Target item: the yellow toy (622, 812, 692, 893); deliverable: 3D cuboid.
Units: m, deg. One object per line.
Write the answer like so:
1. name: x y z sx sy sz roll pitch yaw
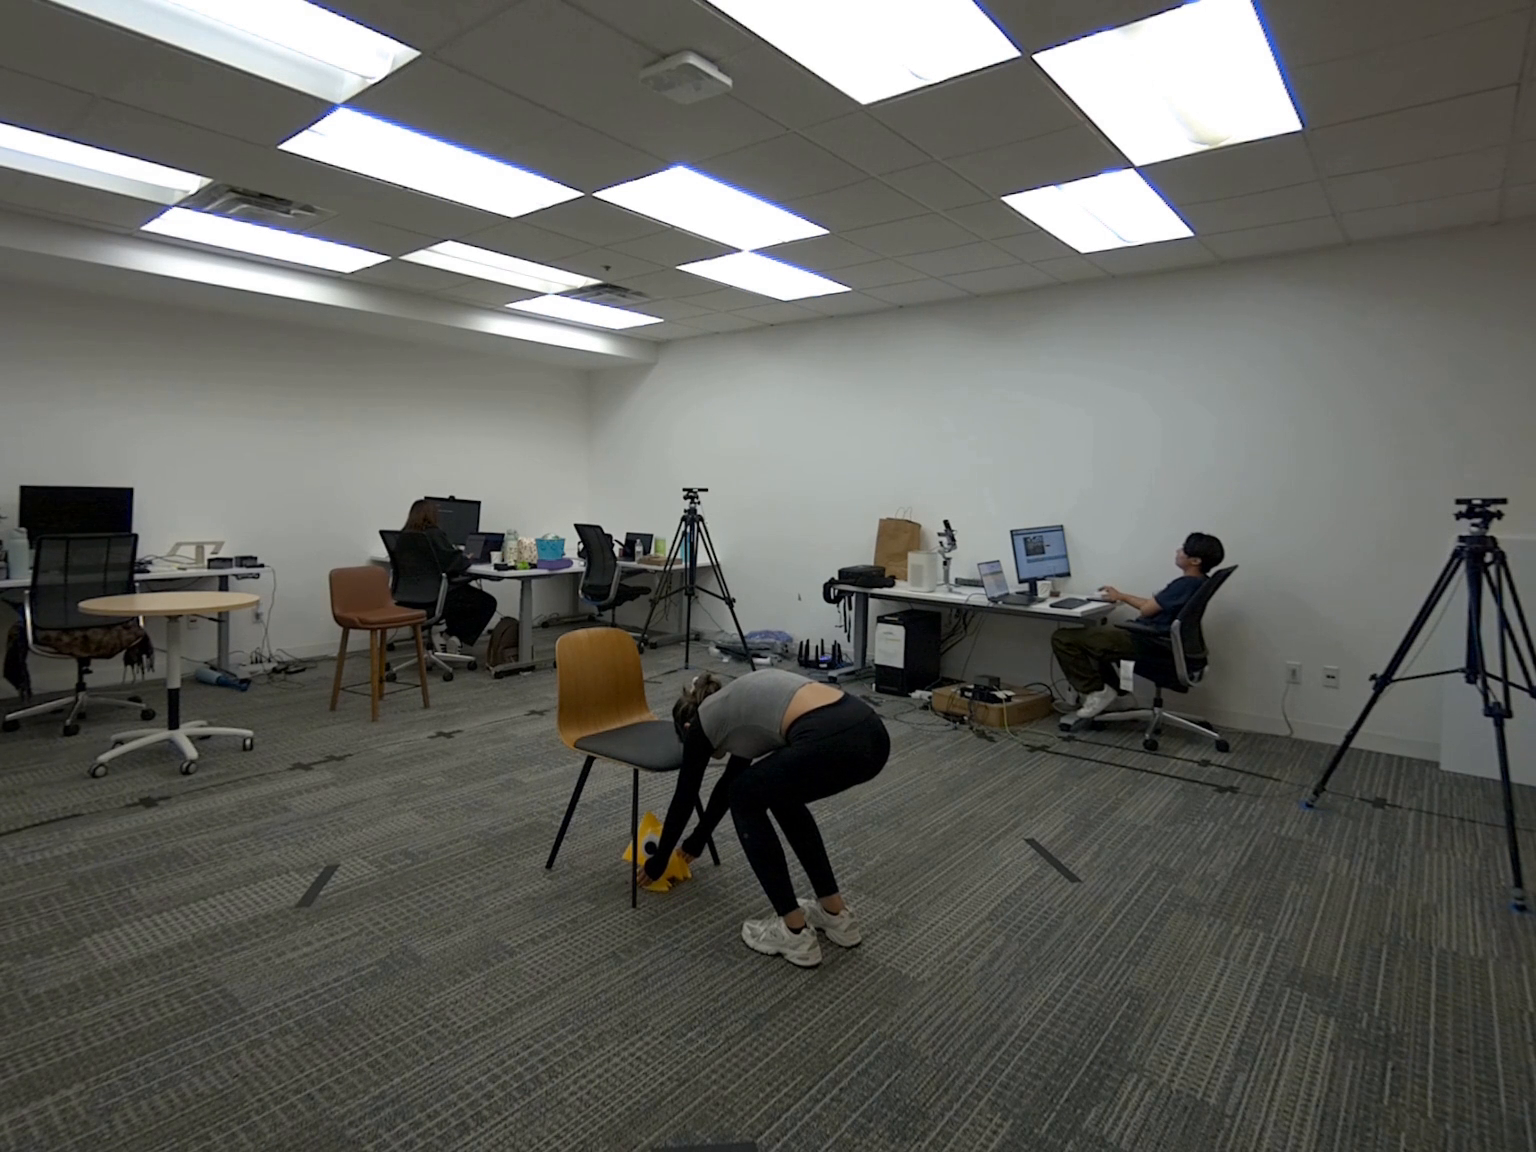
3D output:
1. yellow toy: -0.389 0.958 3.036 0.199 0.230 0.199 3 3 37
